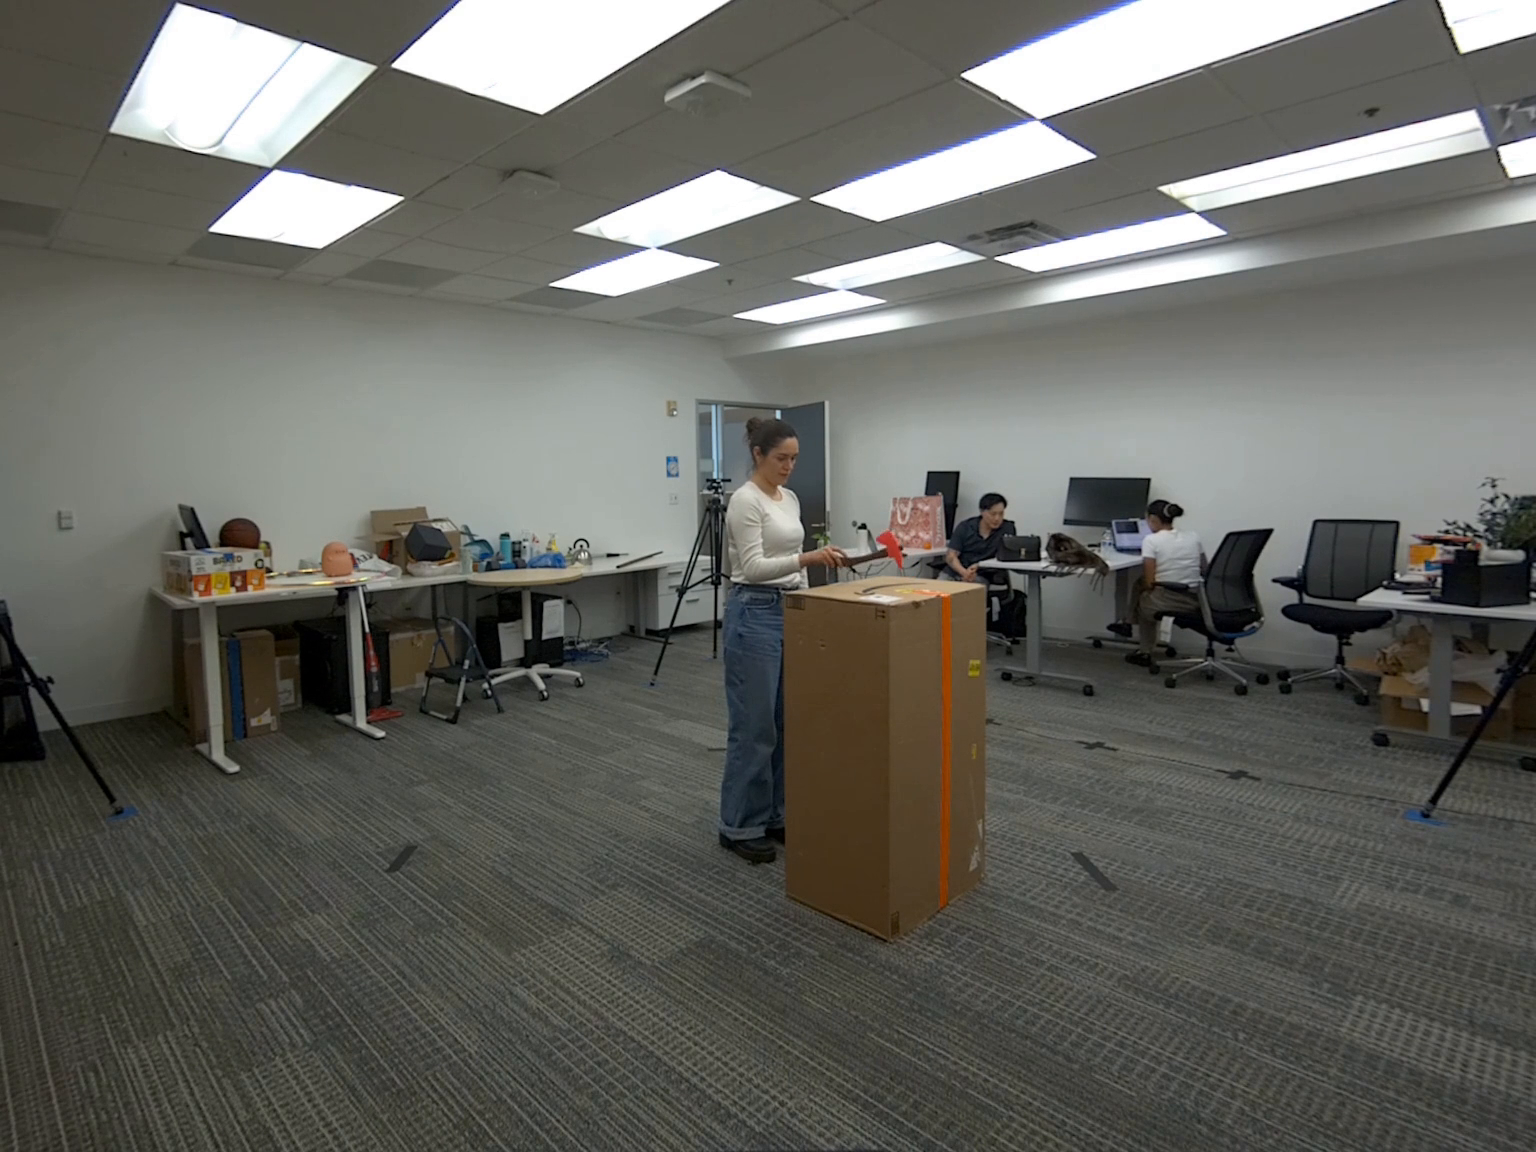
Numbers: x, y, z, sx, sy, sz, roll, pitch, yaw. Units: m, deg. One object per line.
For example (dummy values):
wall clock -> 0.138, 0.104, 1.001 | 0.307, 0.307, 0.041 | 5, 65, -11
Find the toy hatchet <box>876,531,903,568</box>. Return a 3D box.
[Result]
toy hatchet -> 0.323, -0.092, 2.926 | 0.275, 0.129, 0.029 | 3, 15, 19
